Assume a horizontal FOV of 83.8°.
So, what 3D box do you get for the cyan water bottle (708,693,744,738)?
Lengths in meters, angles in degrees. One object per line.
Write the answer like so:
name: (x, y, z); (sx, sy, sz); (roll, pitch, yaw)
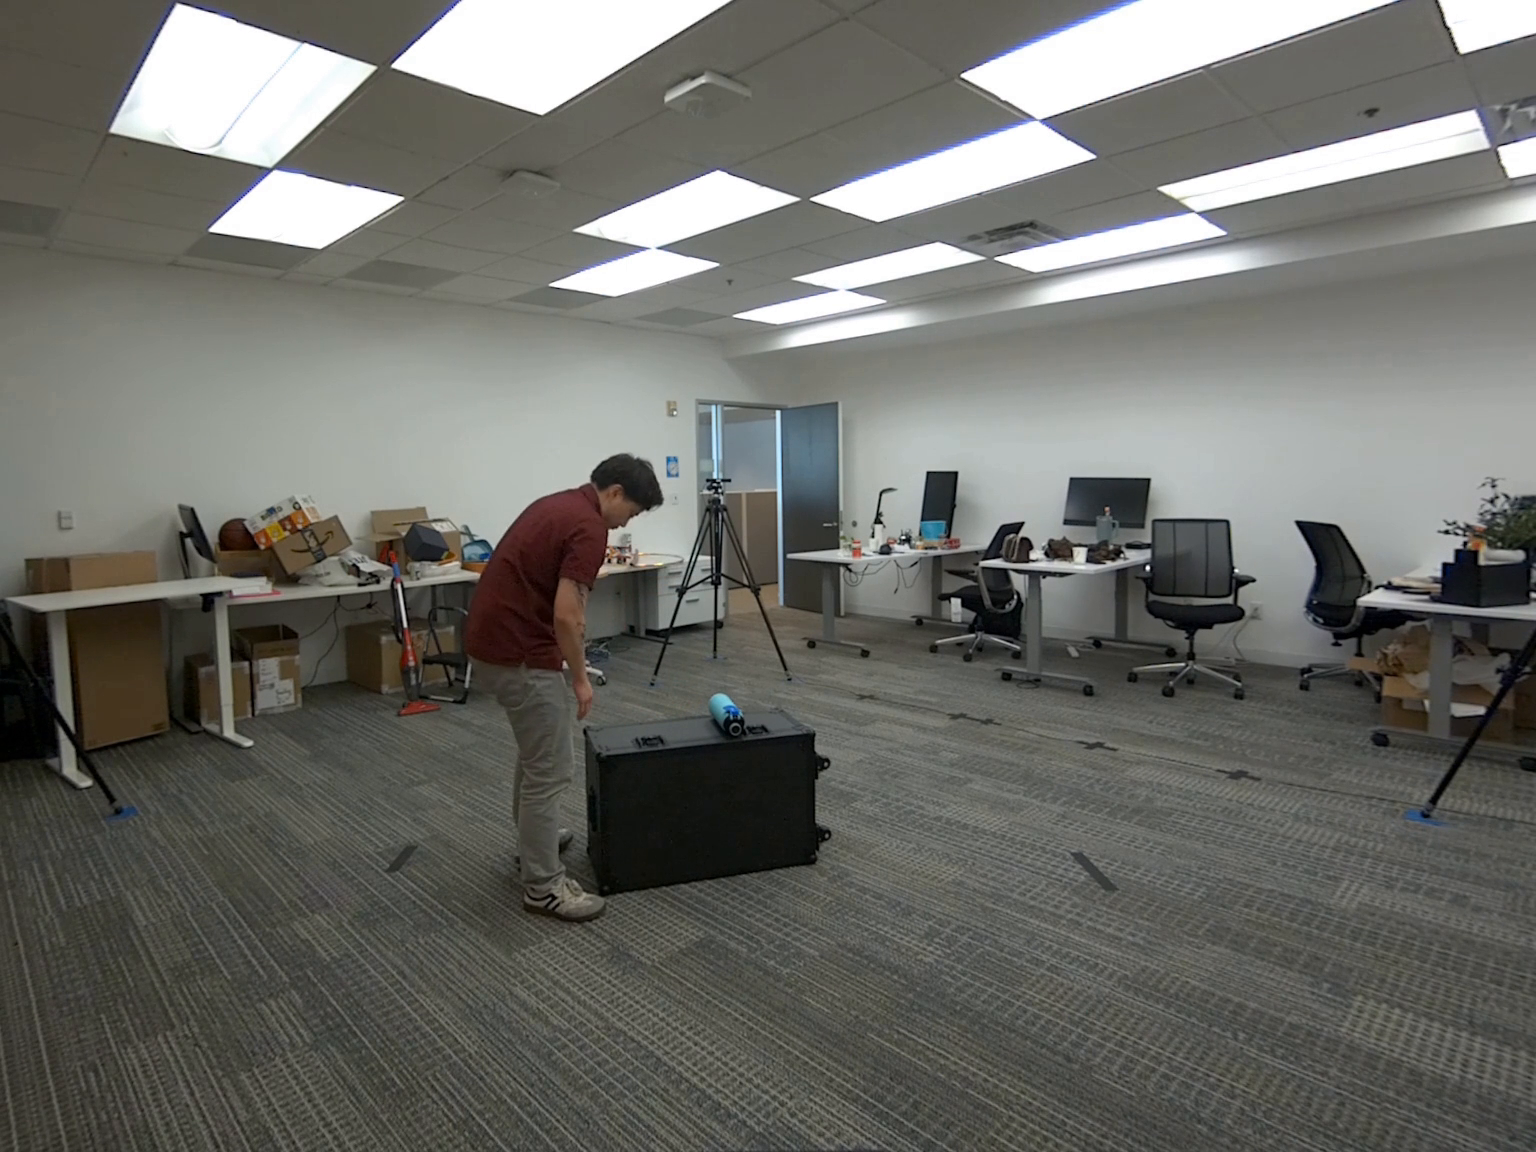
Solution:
cyan water bottle: (-0.151, 0.509, 3.156); (0.091, 0.092, 0.287); (-2, 6, -11)
